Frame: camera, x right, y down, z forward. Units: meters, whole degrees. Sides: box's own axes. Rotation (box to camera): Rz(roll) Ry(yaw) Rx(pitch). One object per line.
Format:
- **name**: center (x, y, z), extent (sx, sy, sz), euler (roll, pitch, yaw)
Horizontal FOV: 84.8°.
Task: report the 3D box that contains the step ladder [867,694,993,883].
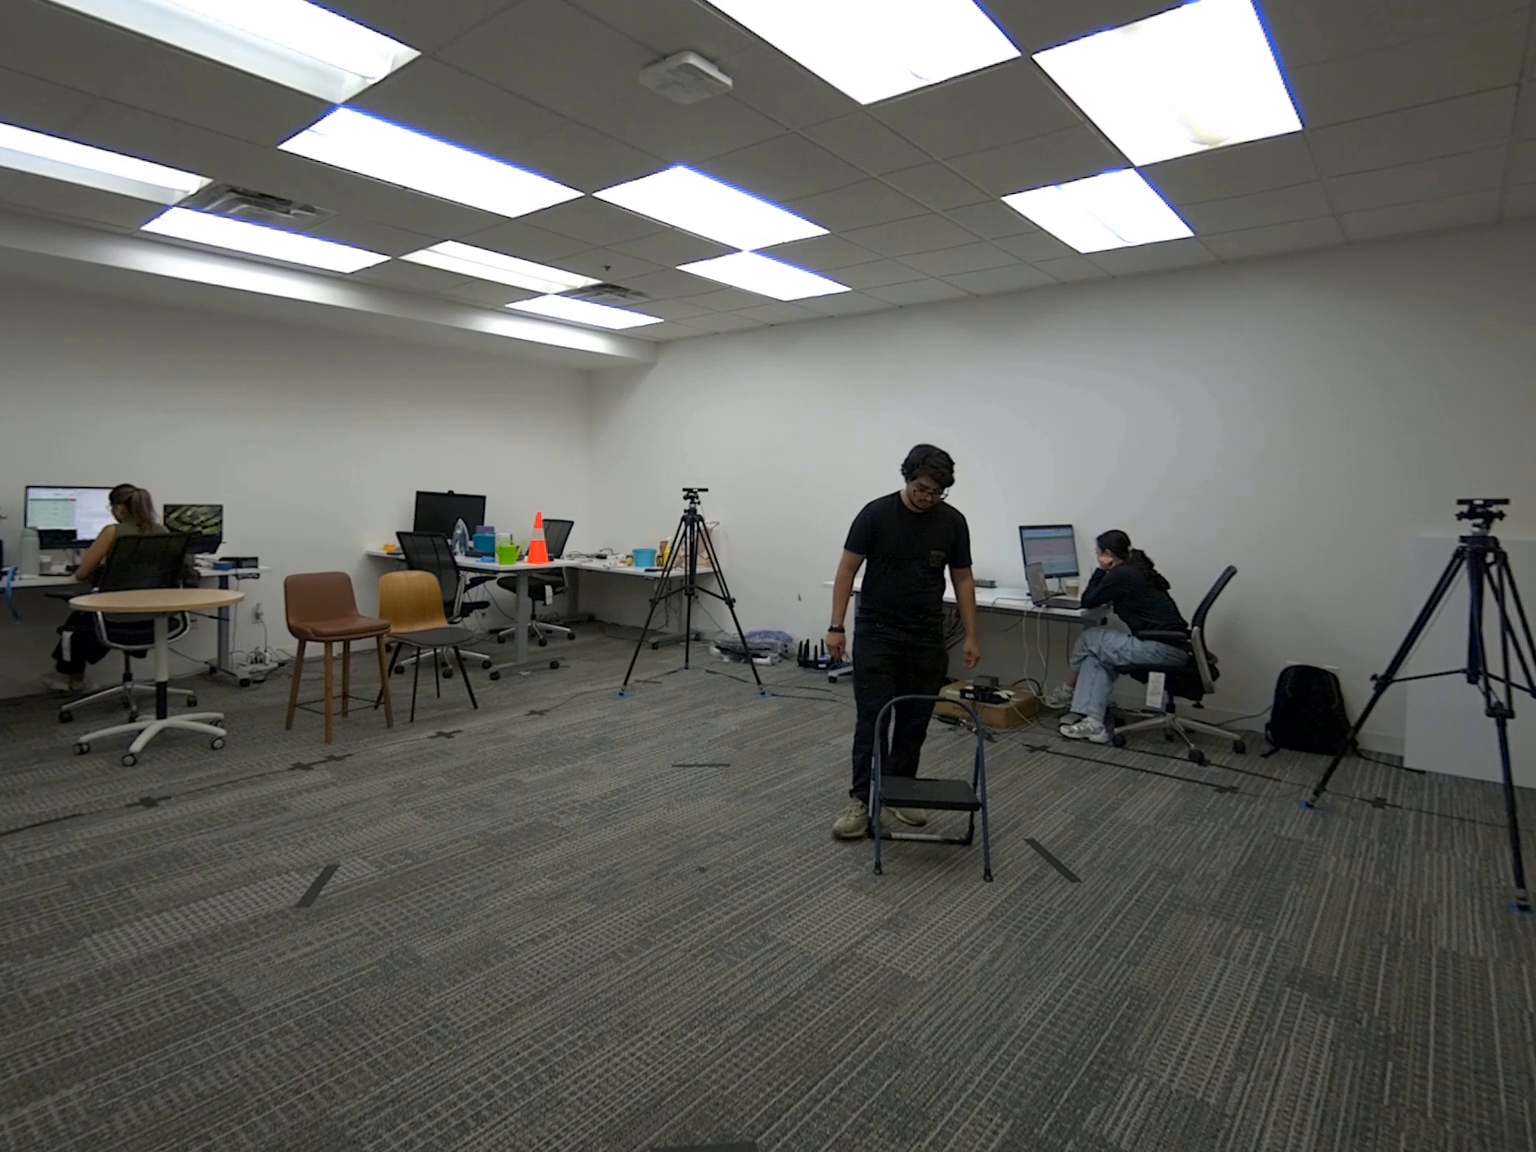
- **step ladder**: center (0.611, 0.778, 3.249), extent (0.433, 0.604, 0.349), euler (2, 3, 3)
